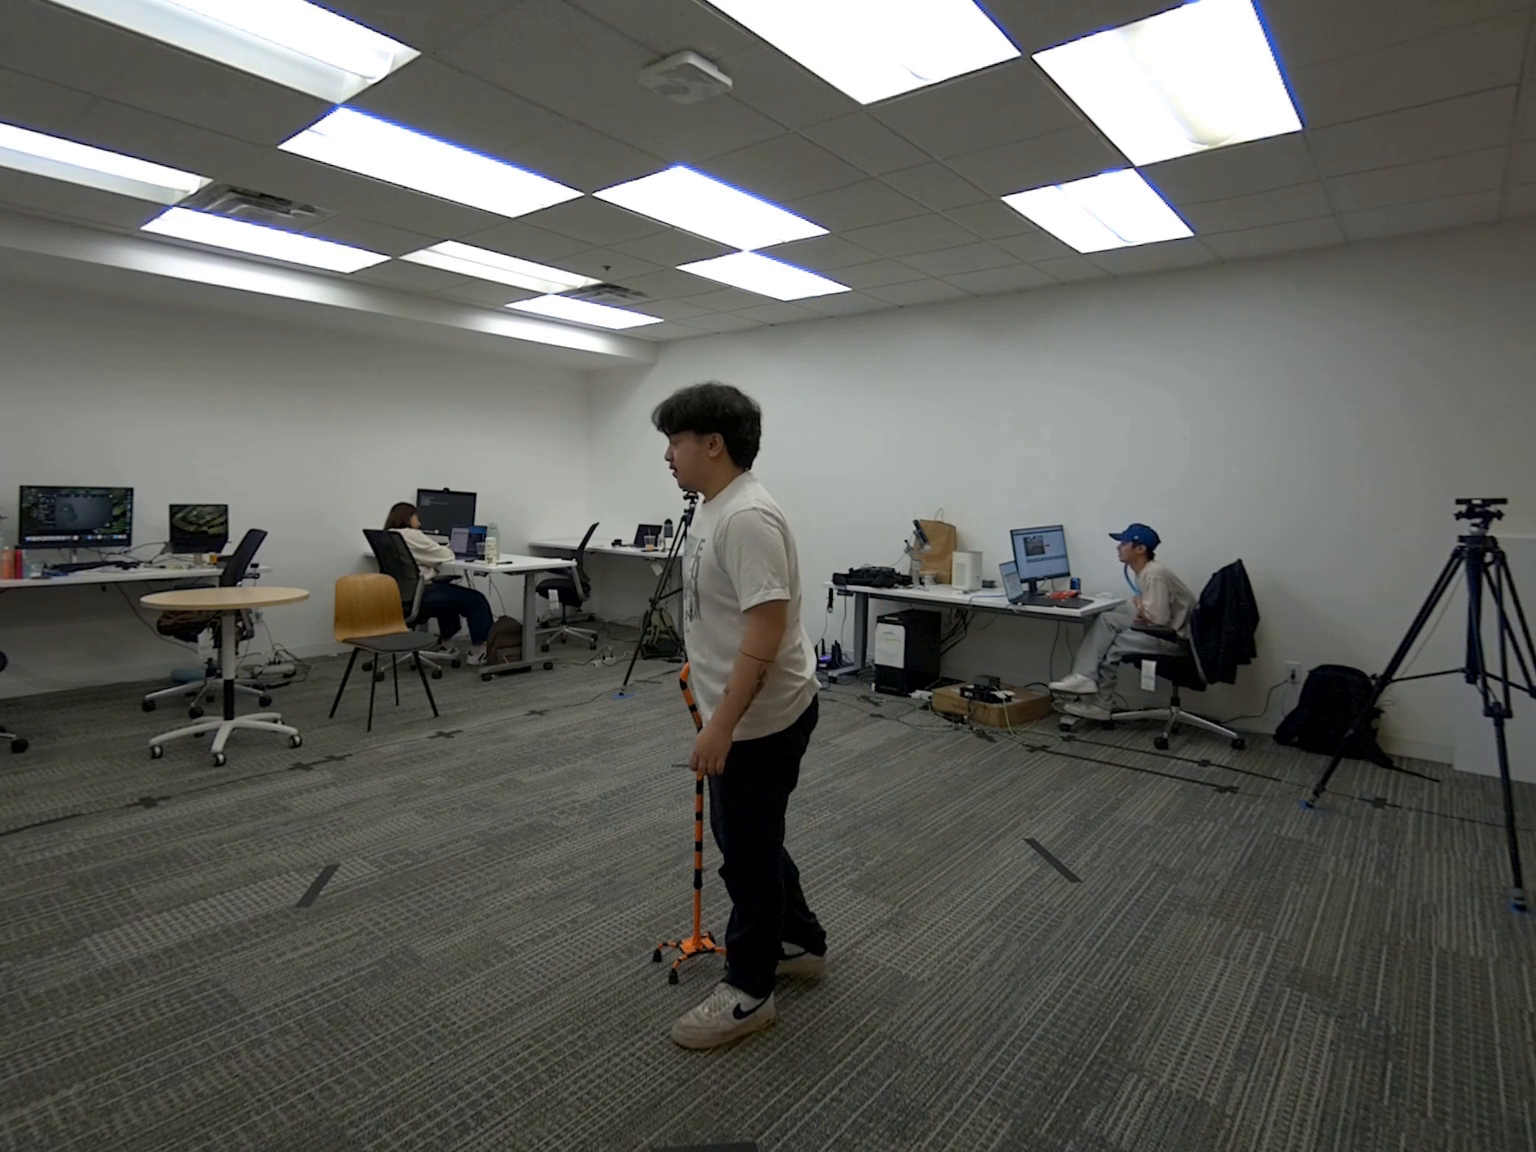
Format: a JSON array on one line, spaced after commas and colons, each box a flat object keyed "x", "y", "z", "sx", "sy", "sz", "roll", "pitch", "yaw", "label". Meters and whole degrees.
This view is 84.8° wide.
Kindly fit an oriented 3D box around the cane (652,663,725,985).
[{"x": -0.225, "y": 0.676, "z": 2.471, "sx": 0.201, "sy": 0.907, "sz": 0.155, "roll": -1, "pitch": 2, "yaw": -25, "label": "cane"}]
